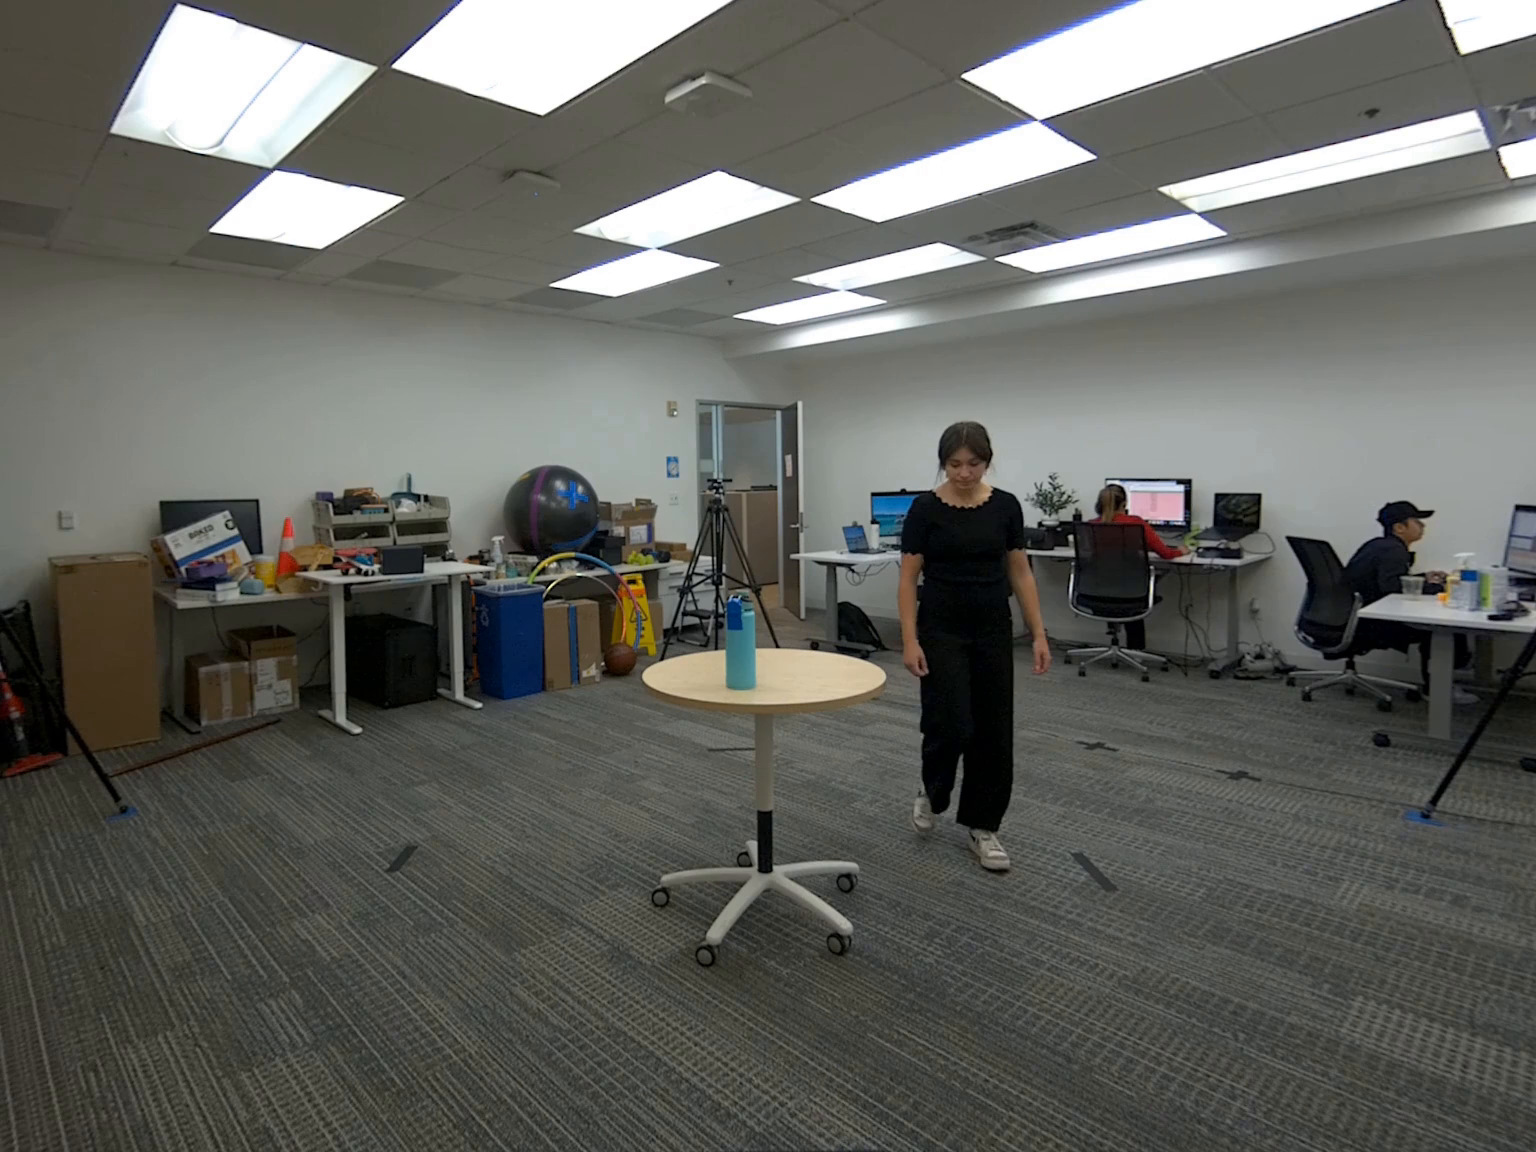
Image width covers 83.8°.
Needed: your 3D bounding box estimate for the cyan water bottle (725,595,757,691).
[{"bbox_3d":[-0.084,0.186,2.519,0.092,0.282,0.093,-3,3,-1],"label":"cyan water bottle"}]
